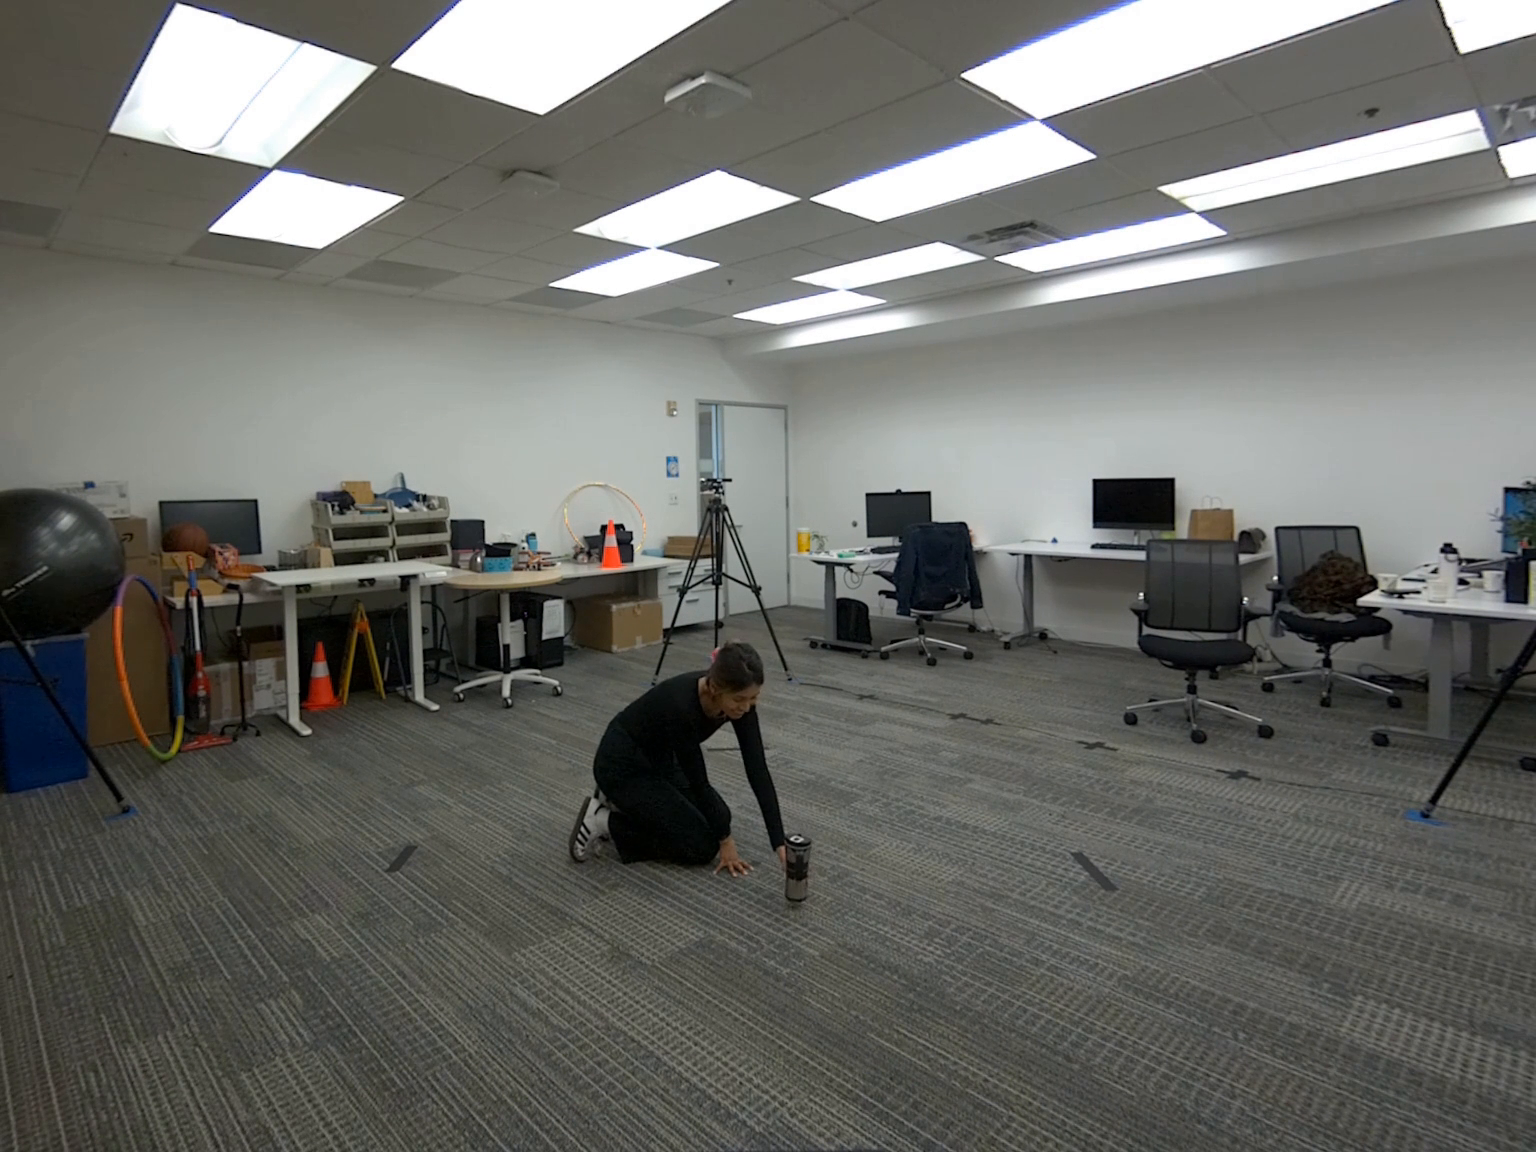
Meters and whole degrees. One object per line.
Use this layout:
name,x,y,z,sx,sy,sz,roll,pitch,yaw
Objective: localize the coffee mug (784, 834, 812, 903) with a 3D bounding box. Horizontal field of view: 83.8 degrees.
coffee mug,0.099,0.952,2.771,0.090,0.202,0.119,5,4,30
